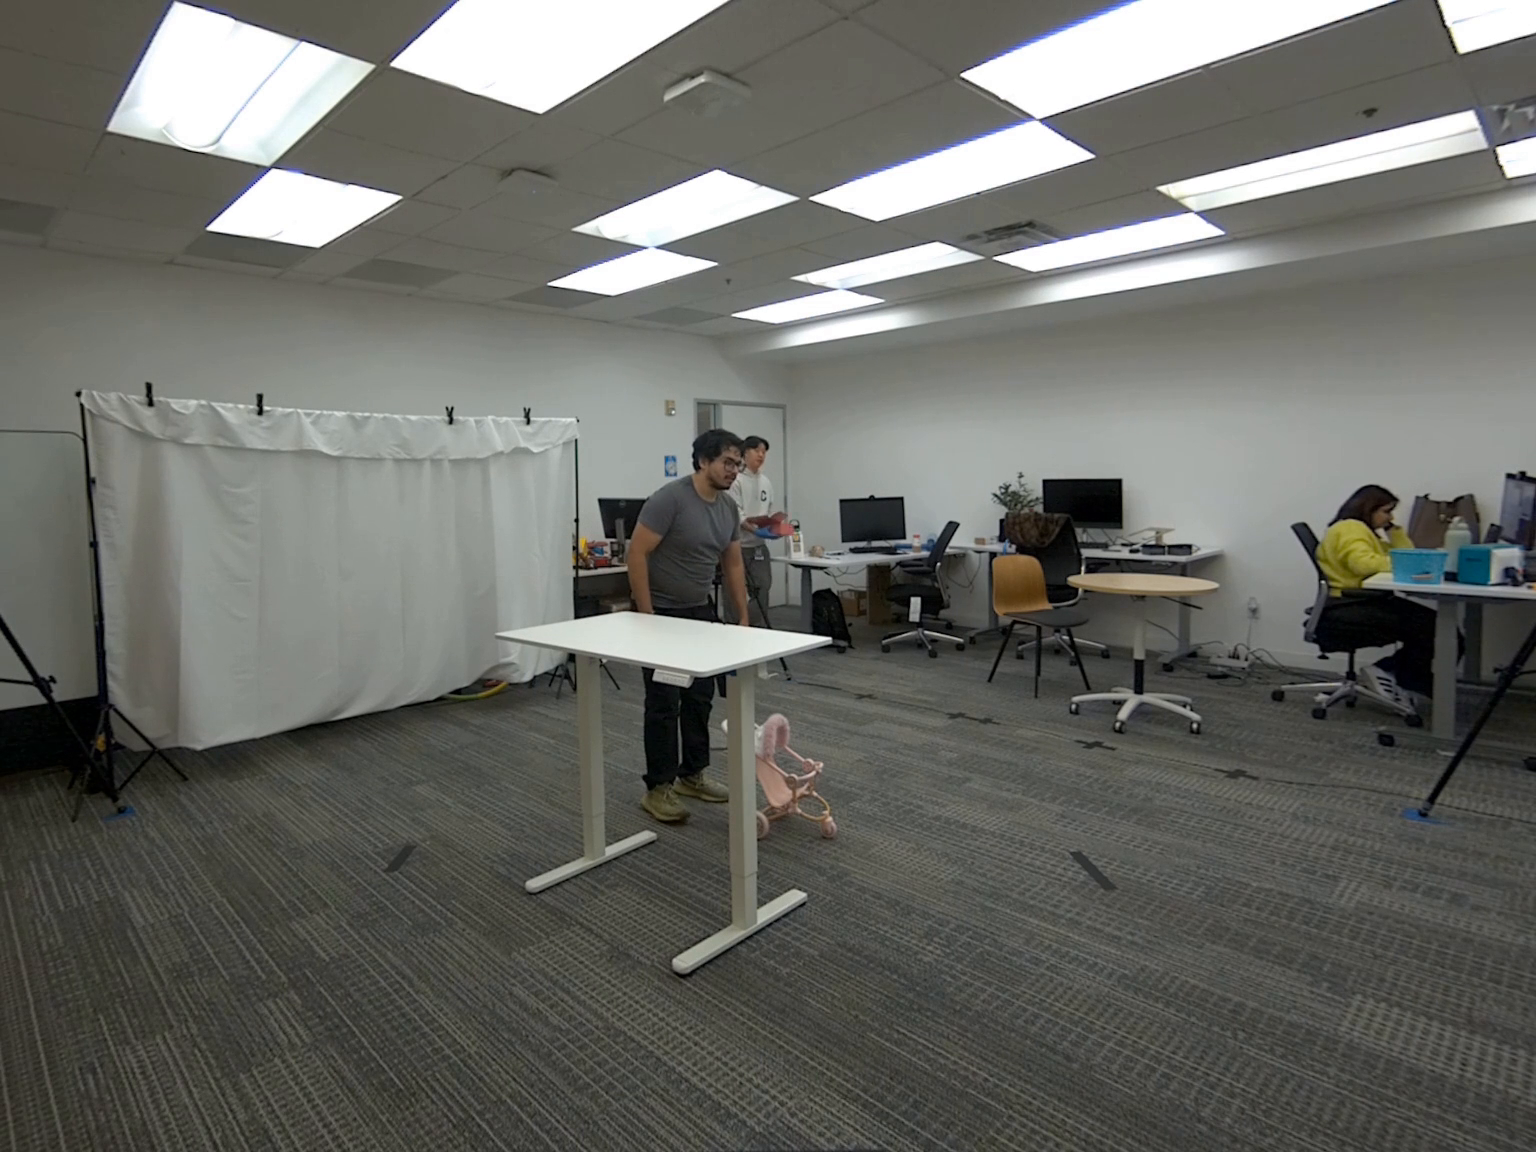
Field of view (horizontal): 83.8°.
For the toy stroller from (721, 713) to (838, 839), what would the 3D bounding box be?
[{"bbox_3d":[0.058,0.787,3.384,0.347,0.537,0.275,-18,-4,29],"label":"toy stroller"}]
